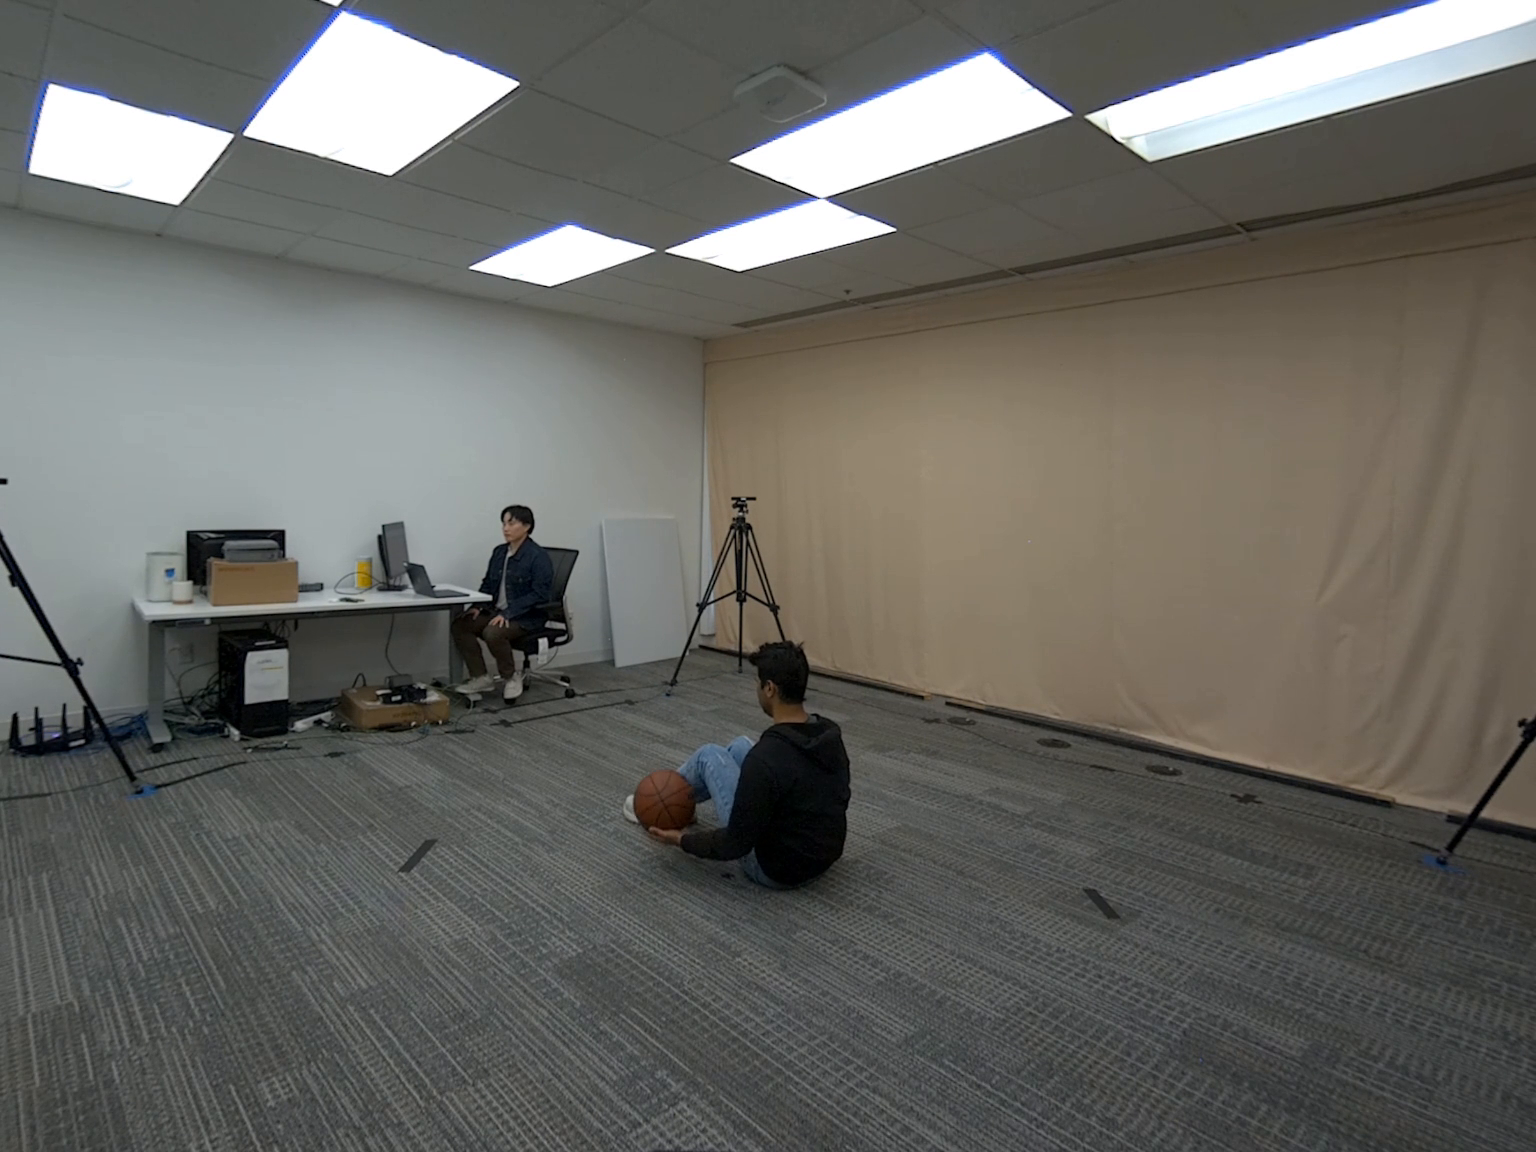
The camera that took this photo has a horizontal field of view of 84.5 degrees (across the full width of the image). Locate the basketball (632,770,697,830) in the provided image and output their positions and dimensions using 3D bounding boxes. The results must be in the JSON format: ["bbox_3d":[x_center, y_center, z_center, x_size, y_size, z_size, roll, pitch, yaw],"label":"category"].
[{"bbox_3d":[-0.390,0.828,3.192,0.236,0.235,0.237,1,4,-1],"label":"basketball"}]
